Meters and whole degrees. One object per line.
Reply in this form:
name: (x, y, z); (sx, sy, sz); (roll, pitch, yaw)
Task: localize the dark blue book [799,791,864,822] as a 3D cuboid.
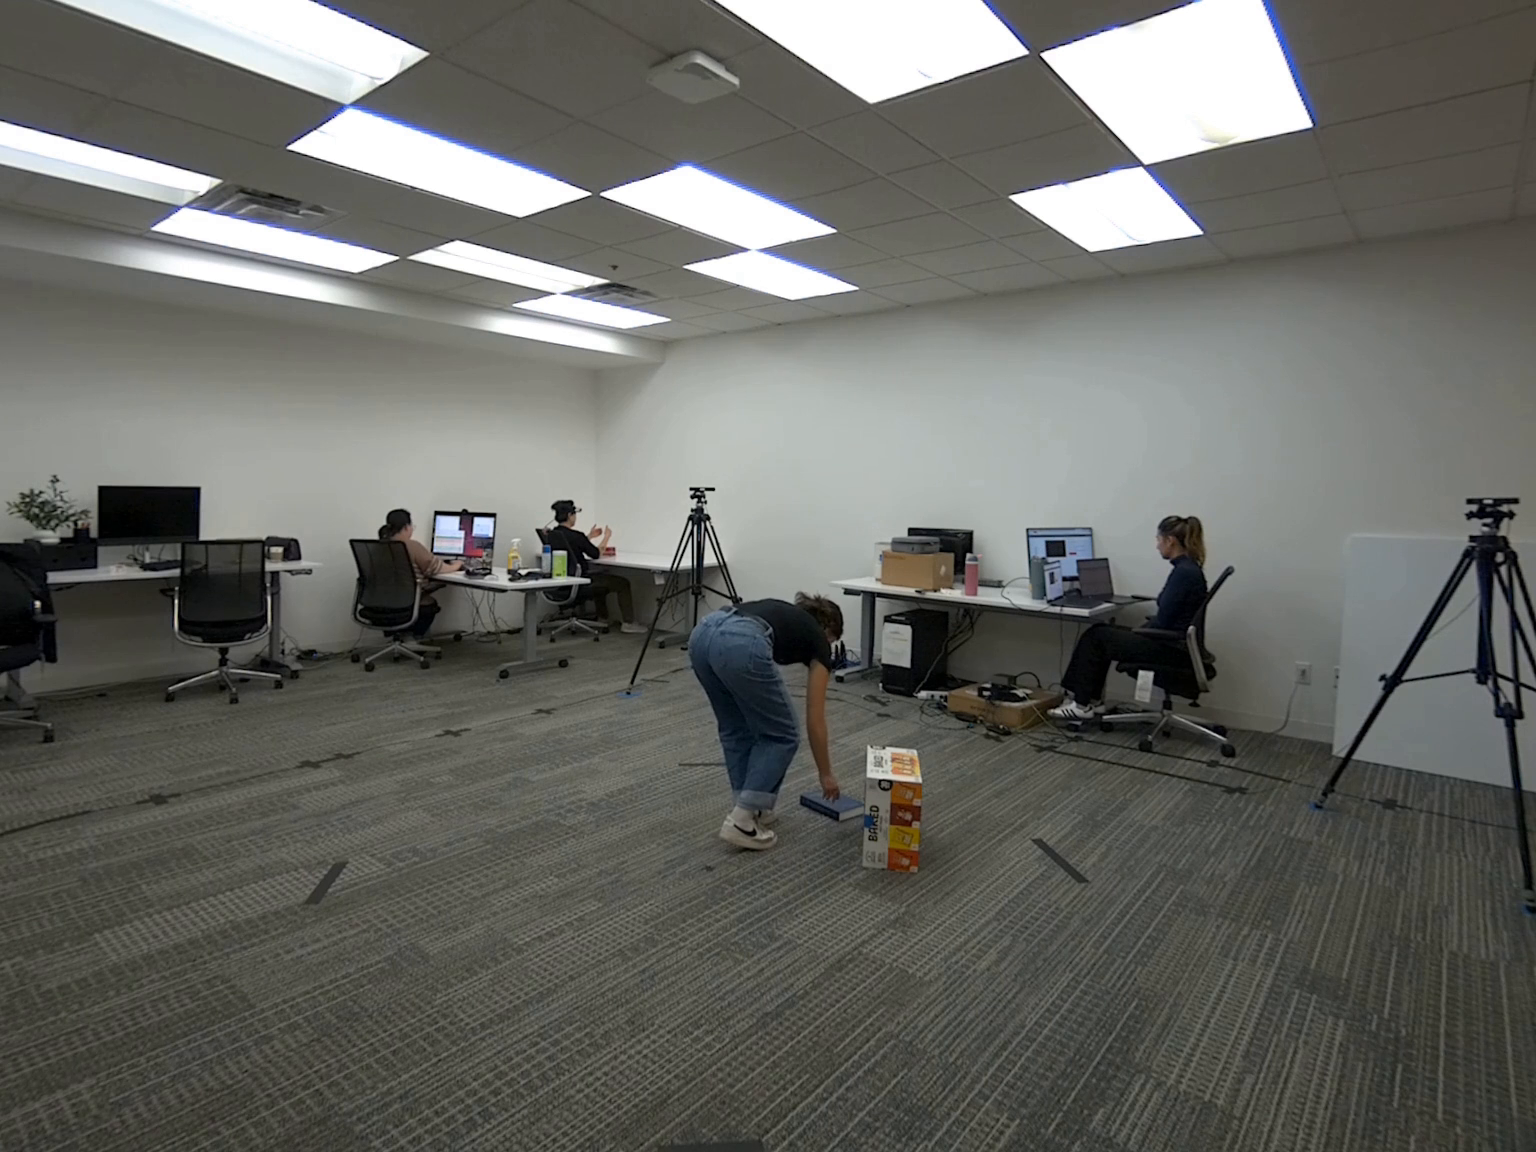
dark blue book: (0.275, 0.995, 3.722); (0.158, 0.045, 0.253); (-4, 8, -39)
